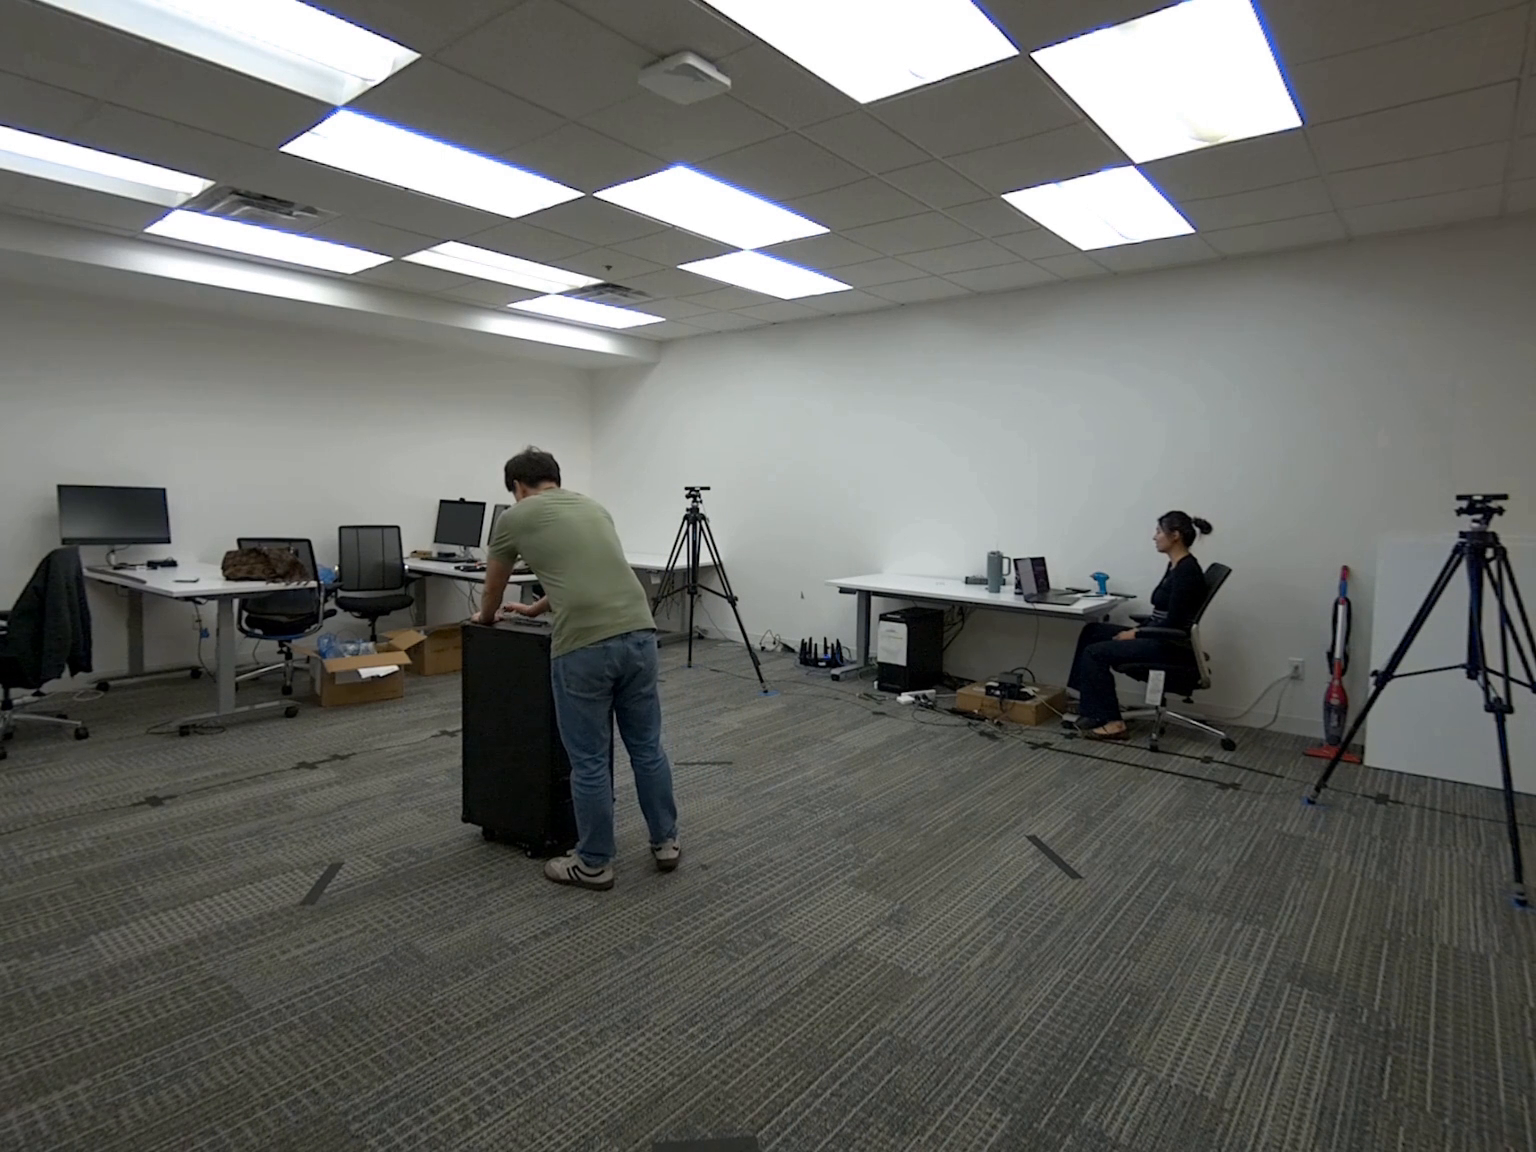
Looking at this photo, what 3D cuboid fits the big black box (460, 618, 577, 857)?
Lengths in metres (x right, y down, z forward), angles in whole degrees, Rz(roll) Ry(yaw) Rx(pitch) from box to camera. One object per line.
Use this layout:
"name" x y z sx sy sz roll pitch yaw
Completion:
"big black box" -0.920 0.610 3.353 0.537 0.860 0.385 3 3 31
